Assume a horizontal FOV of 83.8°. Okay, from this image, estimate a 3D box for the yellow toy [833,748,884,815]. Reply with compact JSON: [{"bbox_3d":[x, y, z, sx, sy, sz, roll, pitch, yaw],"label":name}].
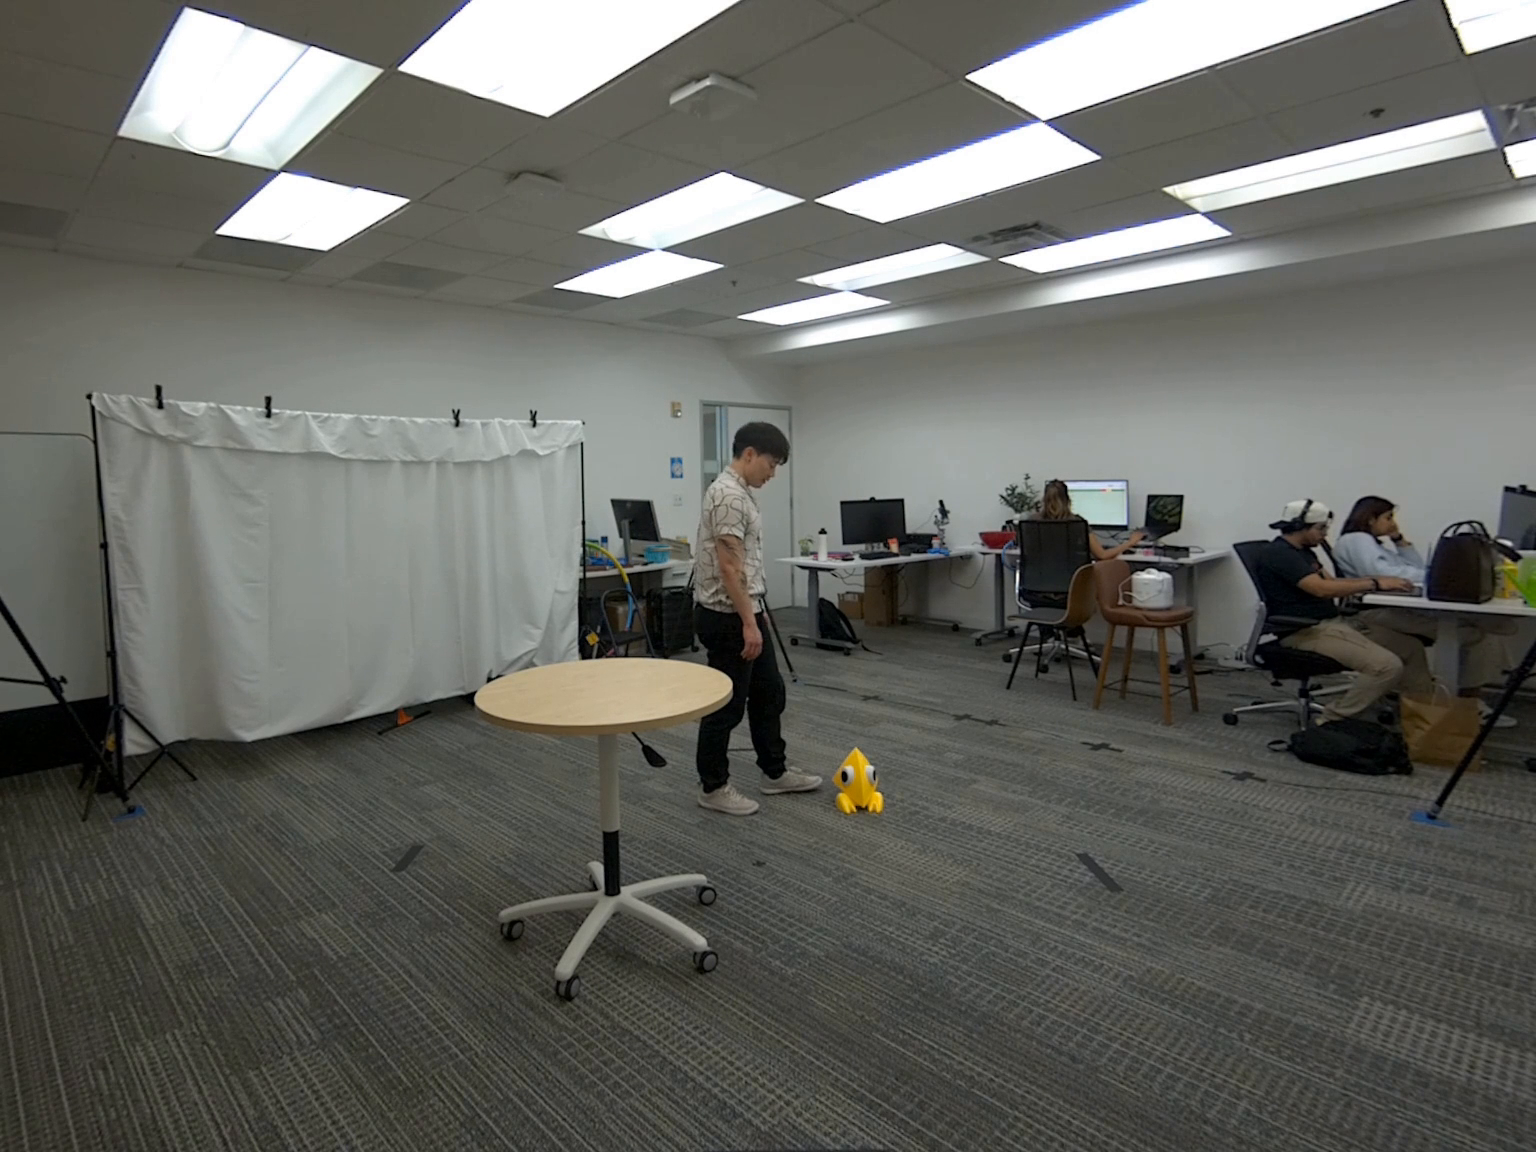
[{"bbox_3d":[0.393,0.868,3.648,0.204,0.230,0.194,-1,3,-2],"label":"yellow toy"}]
